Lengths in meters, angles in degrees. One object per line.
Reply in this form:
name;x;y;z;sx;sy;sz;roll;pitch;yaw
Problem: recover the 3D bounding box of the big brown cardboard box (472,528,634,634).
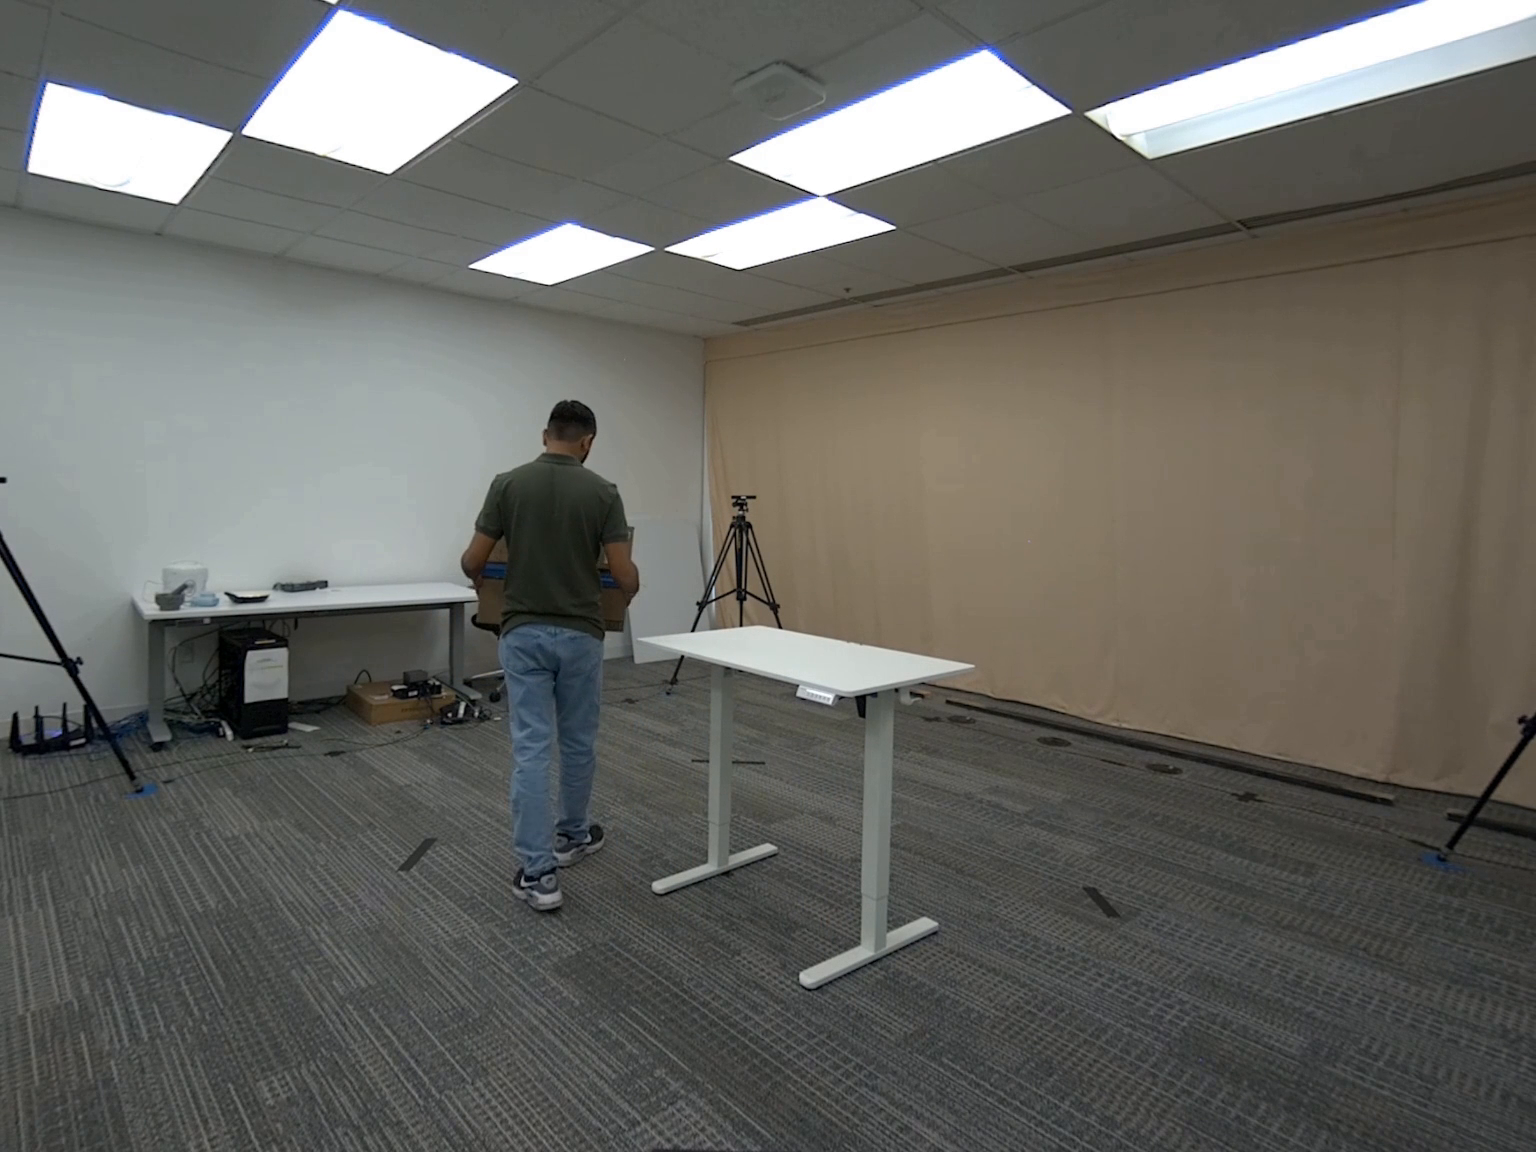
big brown cardboard box;-0.829;-0.020;3.337;0.585;0.416;0.235;4;5;-7
